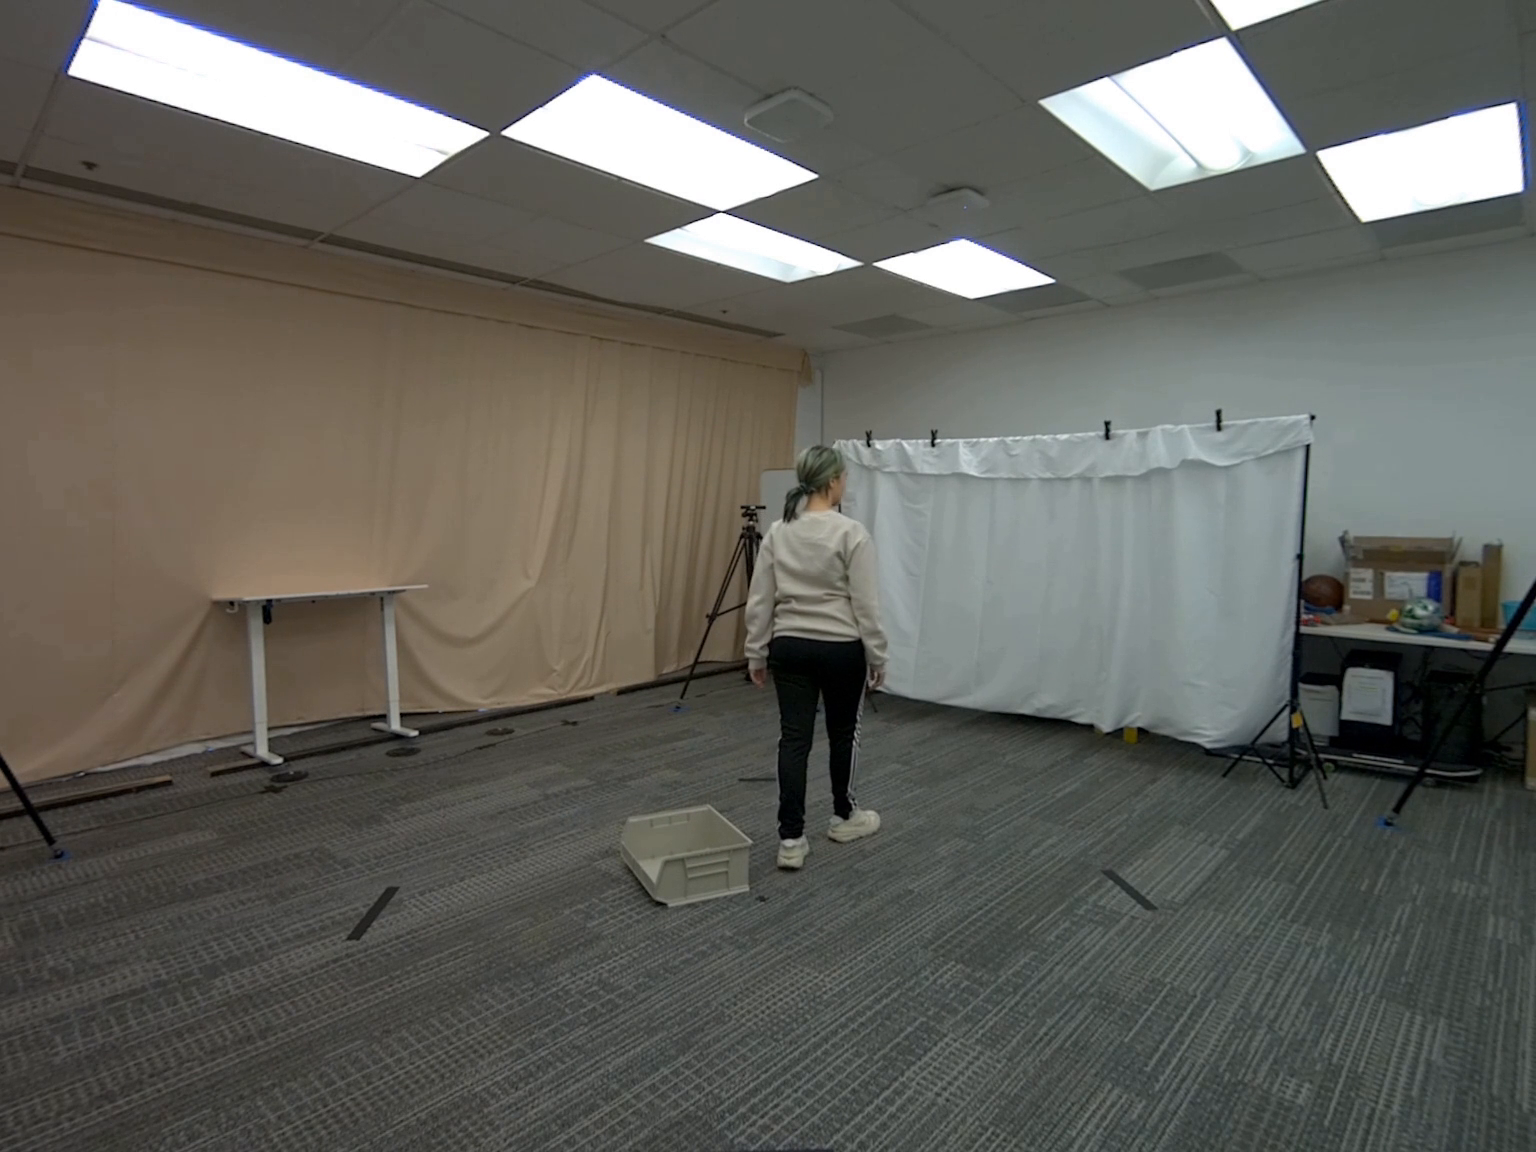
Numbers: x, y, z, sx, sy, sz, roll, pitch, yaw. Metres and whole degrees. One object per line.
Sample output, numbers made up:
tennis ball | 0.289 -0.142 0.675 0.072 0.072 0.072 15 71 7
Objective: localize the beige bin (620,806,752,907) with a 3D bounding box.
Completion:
beige bin | -0.316 1.042 3.157 0.368 0.188 0.433 -2 4 -25
